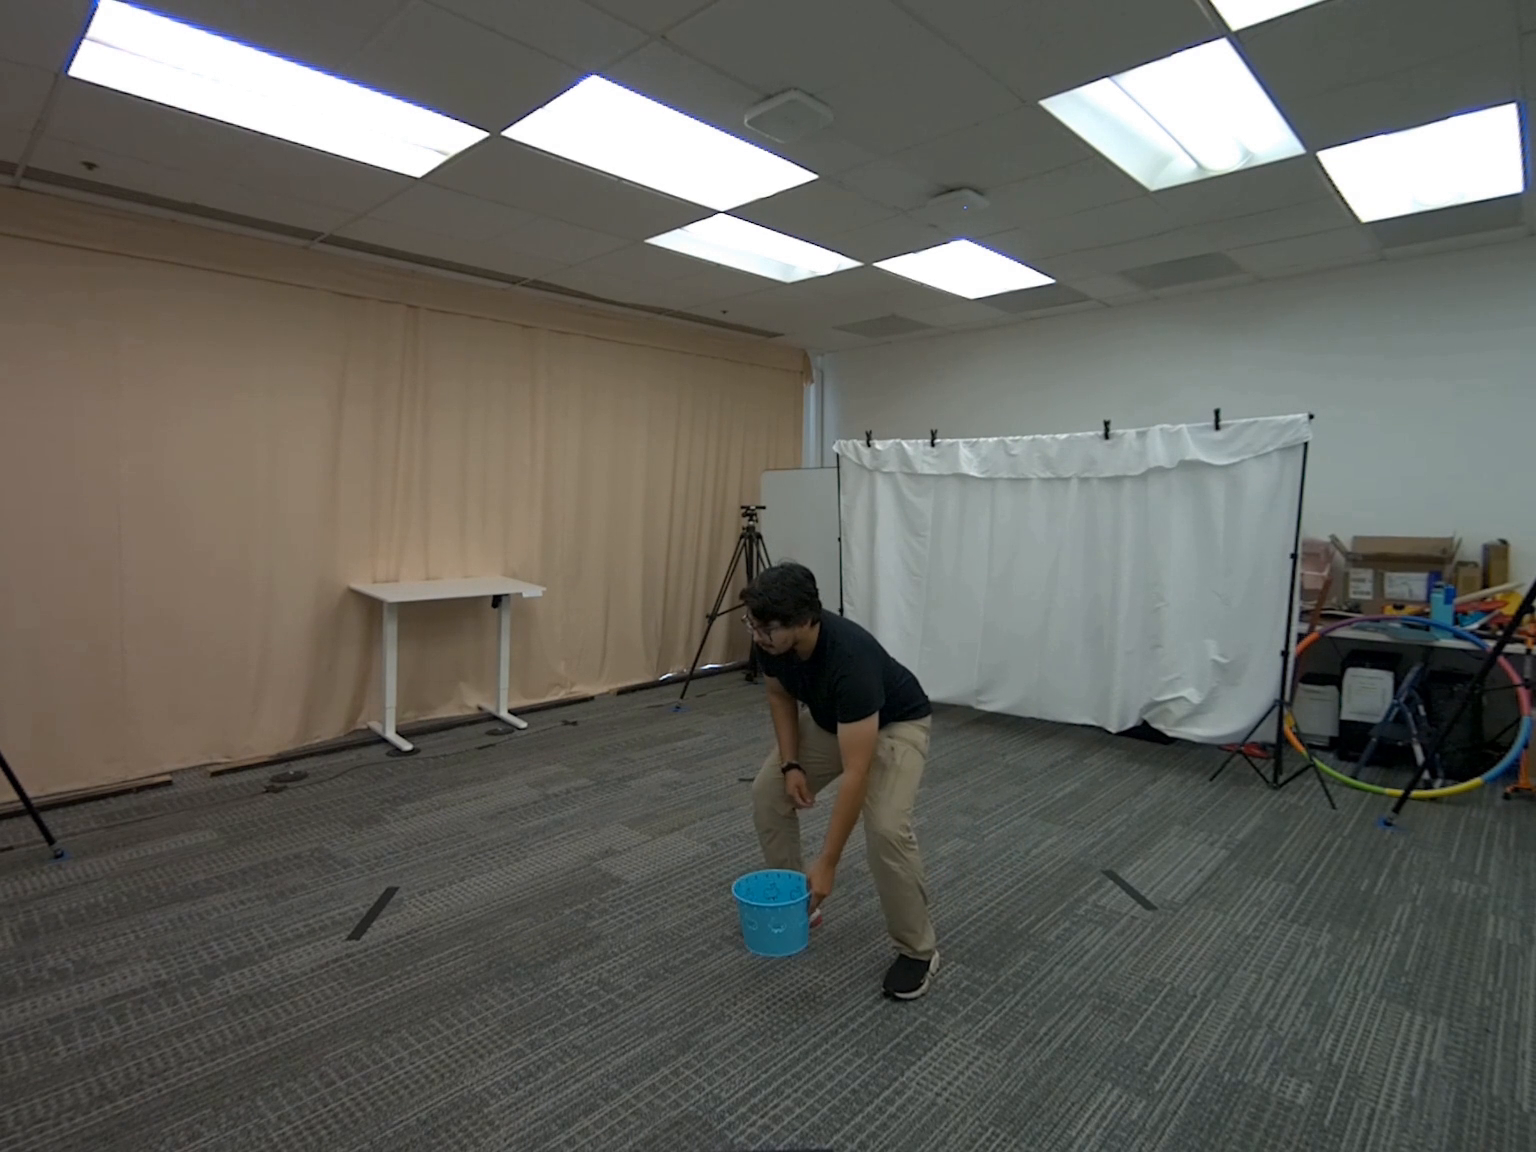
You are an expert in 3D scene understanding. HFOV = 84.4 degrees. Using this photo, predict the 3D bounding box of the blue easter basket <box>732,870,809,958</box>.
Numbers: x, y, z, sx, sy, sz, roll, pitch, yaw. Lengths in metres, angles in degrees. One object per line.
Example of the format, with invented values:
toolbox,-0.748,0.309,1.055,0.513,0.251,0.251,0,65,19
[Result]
blue easter basket,0.025,0.940,2.361,0.243,0.156,0.244,-3,2,-2
